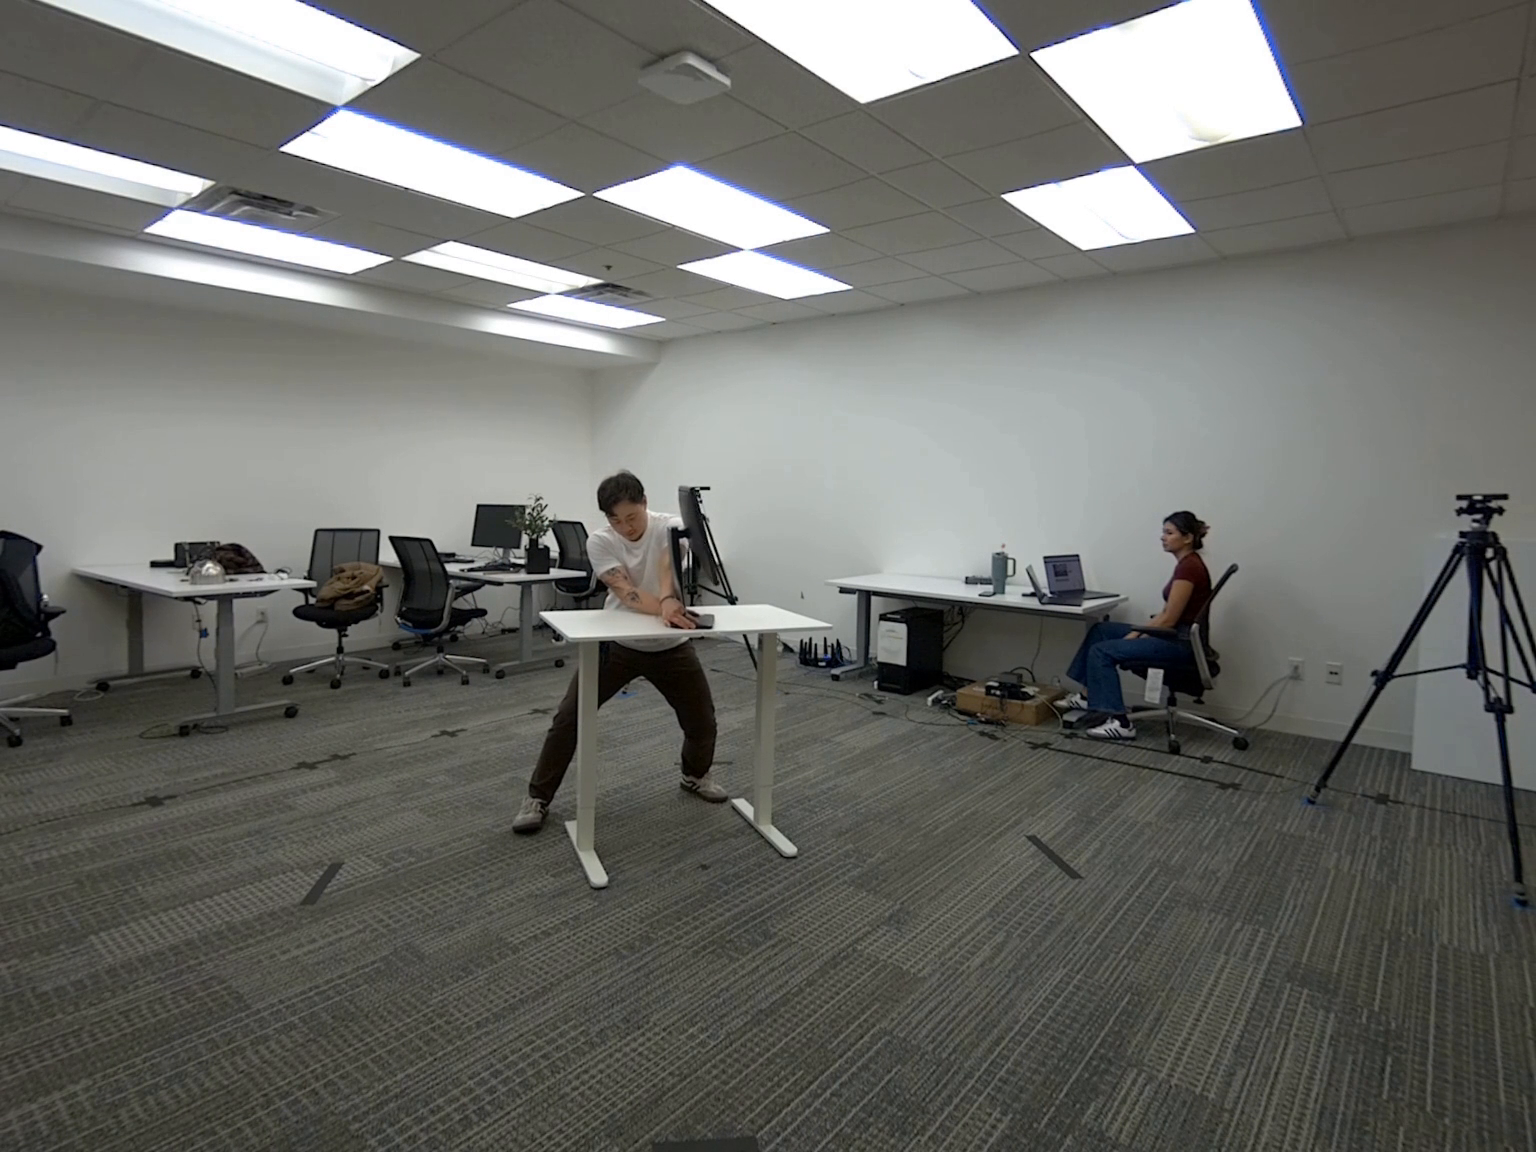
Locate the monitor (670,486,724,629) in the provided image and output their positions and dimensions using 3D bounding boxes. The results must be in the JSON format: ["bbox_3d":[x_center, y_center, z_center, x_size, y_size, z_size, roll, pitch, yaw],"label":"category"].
[{"bbox_3d":[-0.308,-0.080,3.190,0.185,0.520,0.546,-1,6,-9],"label":"monitor"}]
